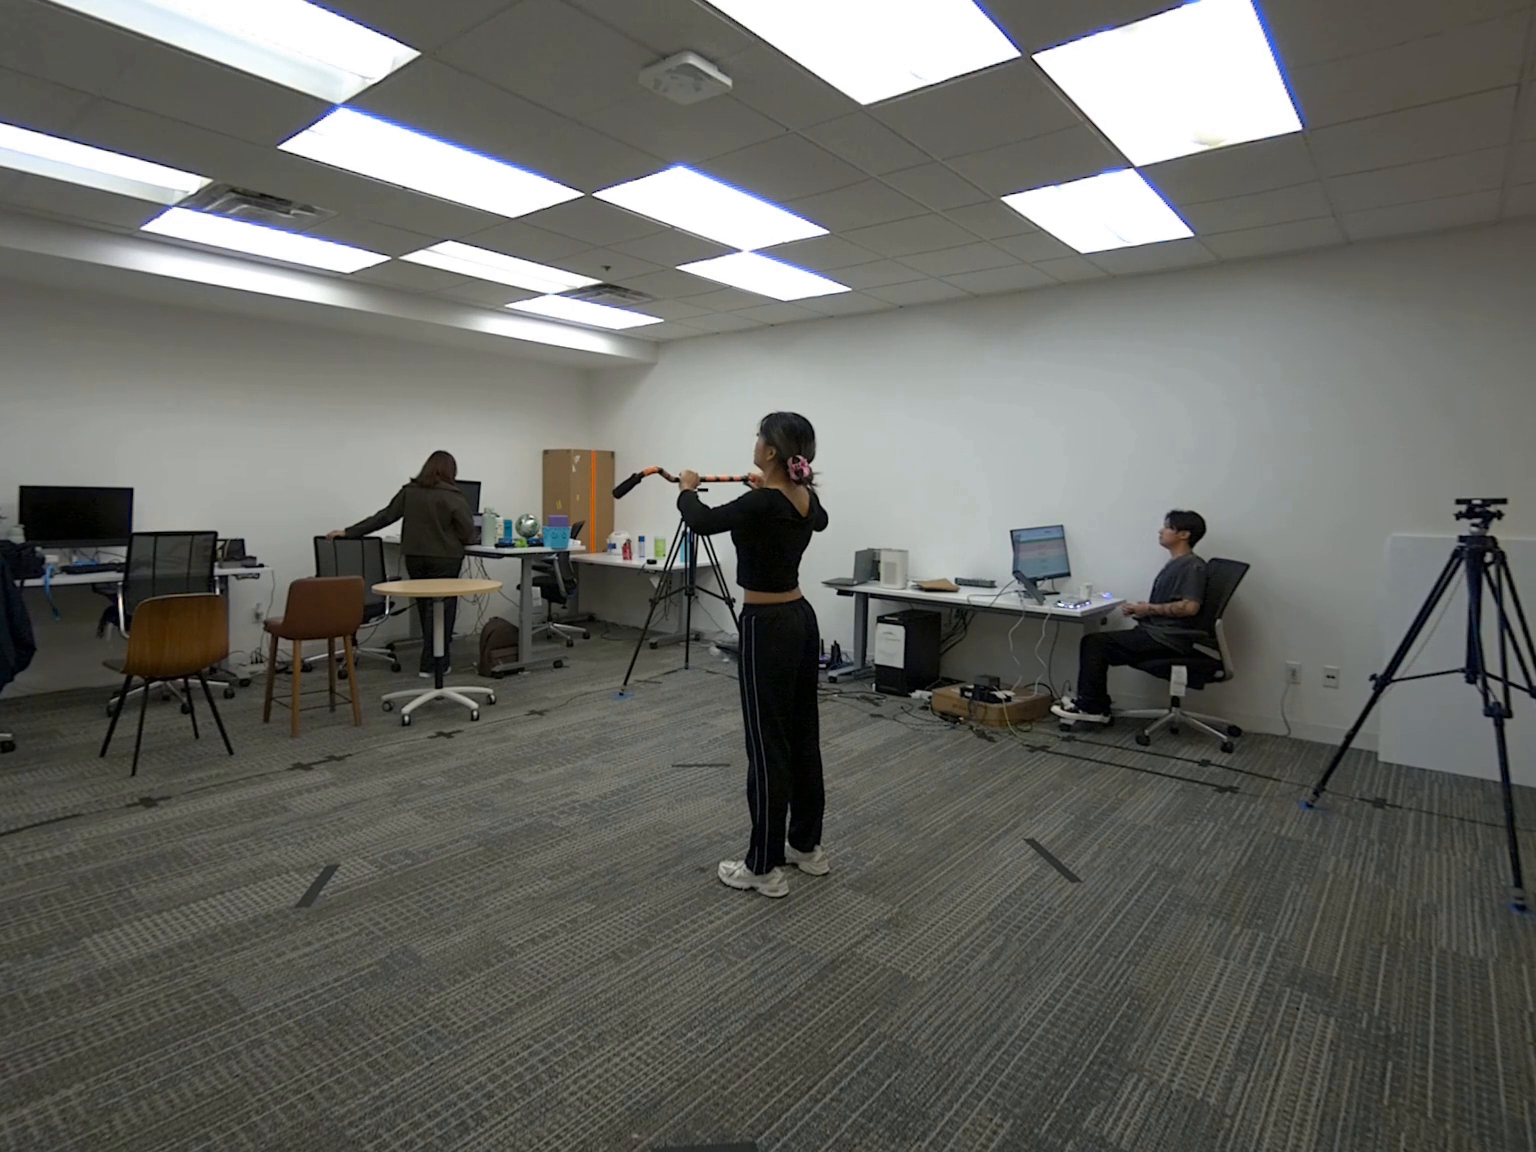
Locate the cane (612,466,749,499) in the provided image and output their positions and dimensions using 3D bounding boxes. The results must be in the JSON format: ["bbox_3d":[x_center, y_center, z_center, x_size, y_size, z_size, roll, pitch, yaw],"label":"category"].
[{"bbox_3d":[-0.197,-0.339,3.052,0.208,0.154,0.884,-33,-13,32],"label":"cane"}]
